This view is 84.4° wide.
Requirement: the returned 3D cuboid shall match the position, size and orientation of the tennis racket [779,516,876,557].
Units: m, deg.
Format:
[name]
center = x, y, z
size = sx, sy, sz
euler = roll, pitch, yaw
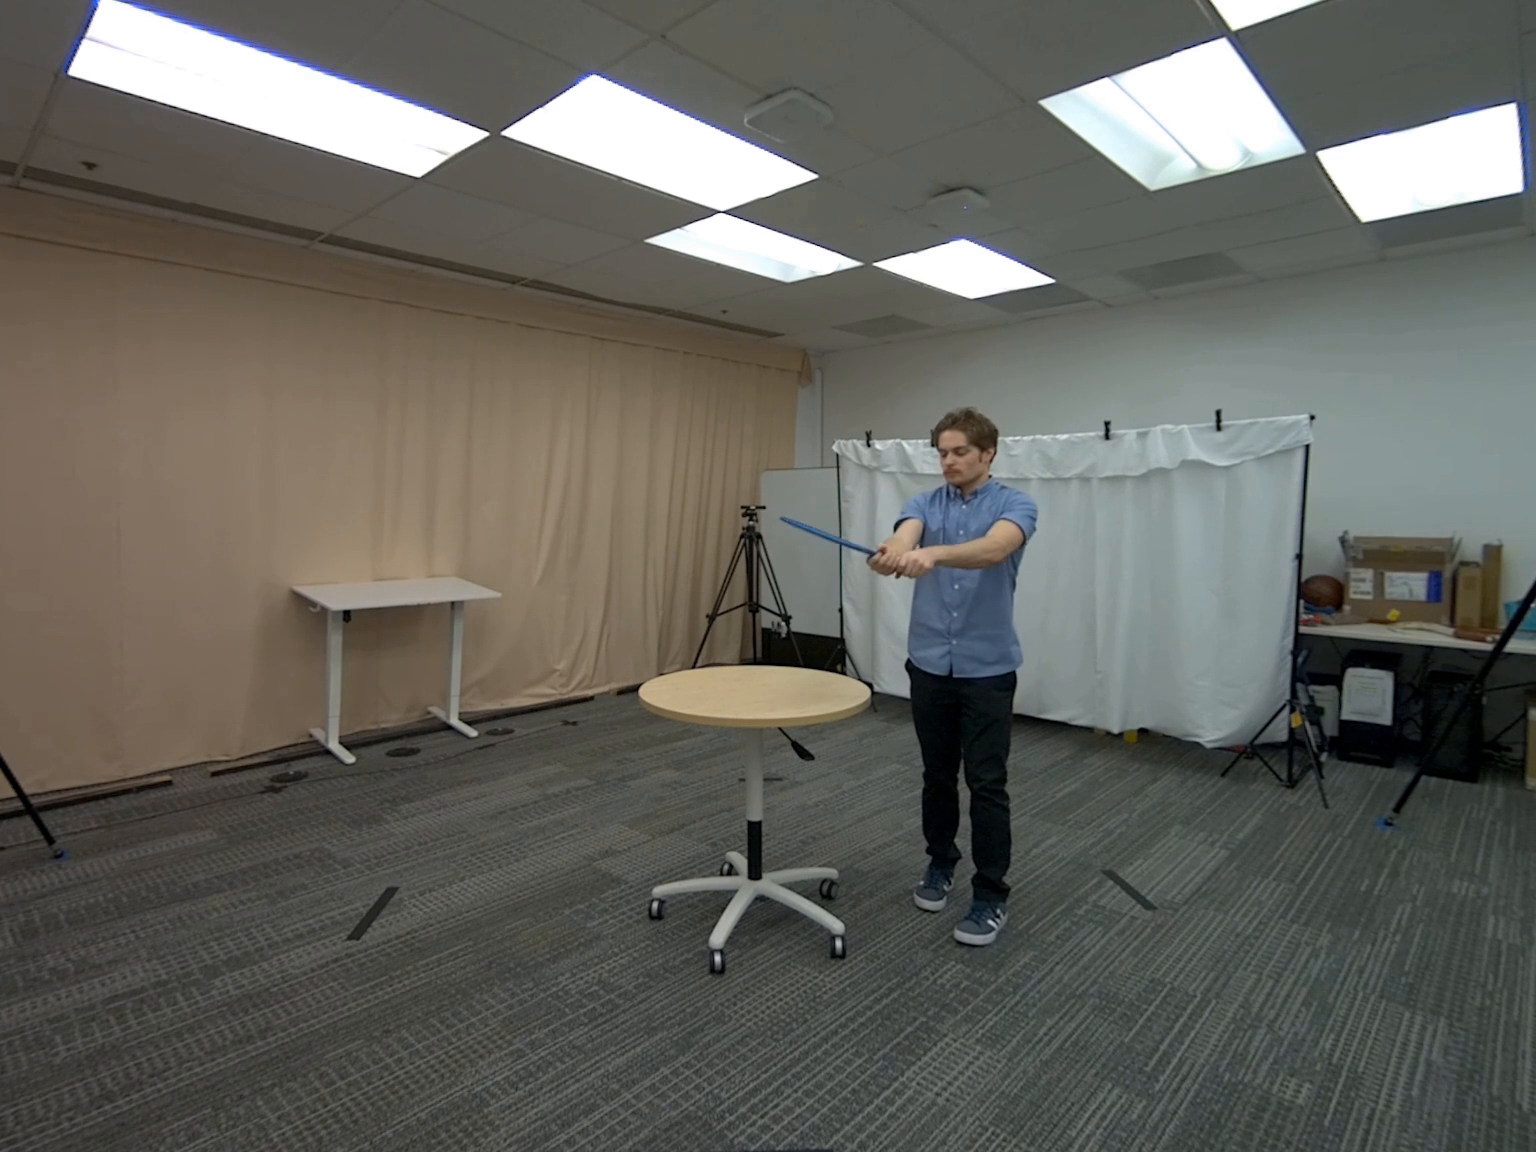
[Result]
[tennis racket]
center = 0.233, -0.080, 2.398
size = 0.428, 0.032, 0.216
euler = 21, 3, -9
